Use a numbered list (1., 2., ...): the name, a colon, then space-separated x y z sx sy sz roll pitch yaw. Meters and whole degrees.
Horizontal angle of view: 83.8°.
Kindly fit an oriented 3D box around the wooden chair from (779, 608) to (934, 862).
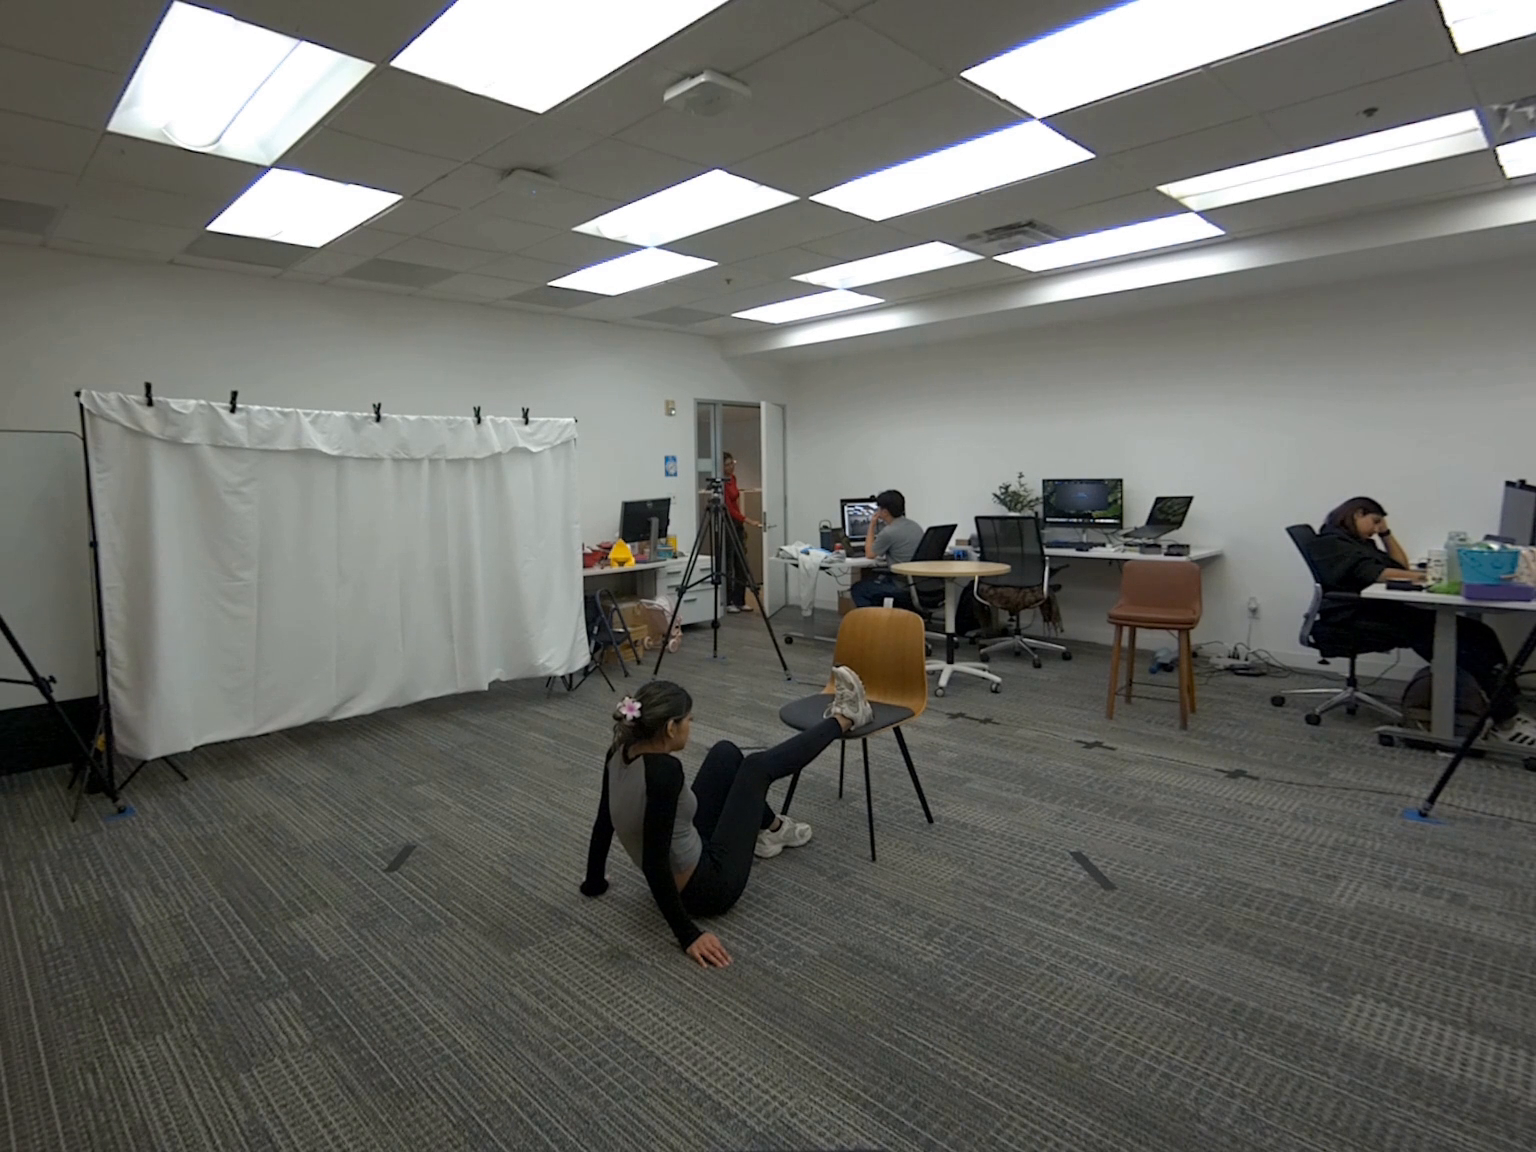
1. wooden chair: 0.340 0.576 3.376 0.492 0.877 0.508 3 1 40
